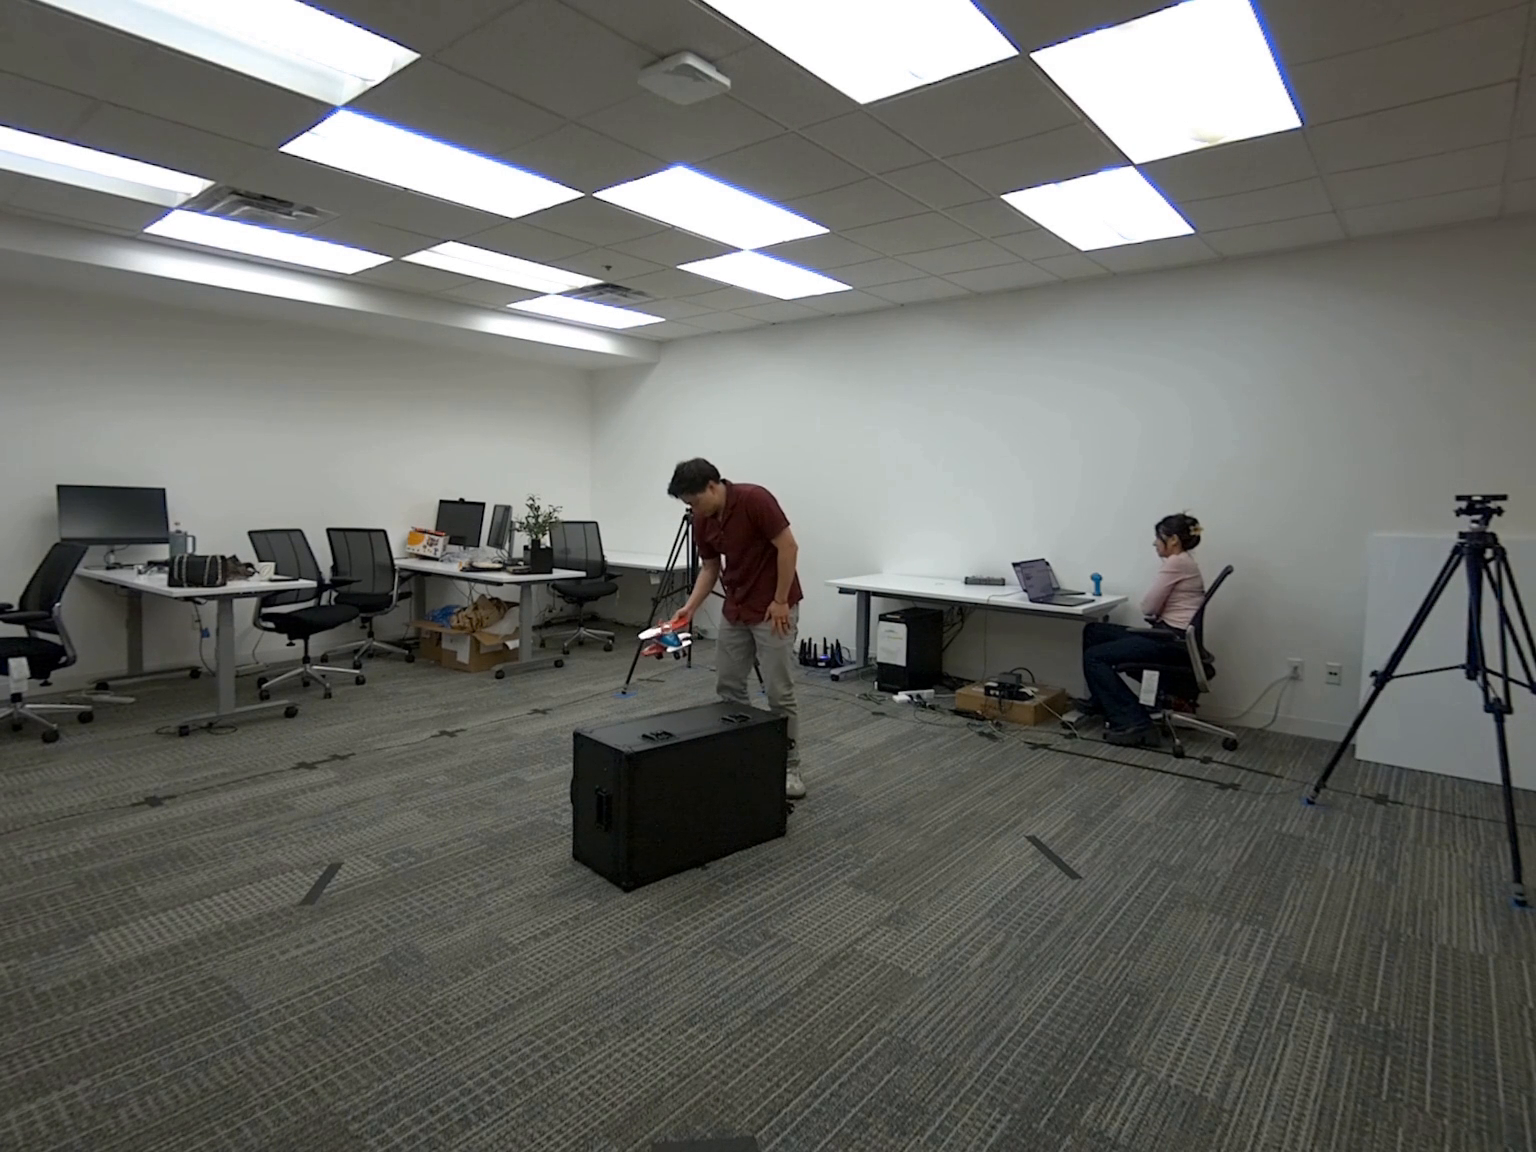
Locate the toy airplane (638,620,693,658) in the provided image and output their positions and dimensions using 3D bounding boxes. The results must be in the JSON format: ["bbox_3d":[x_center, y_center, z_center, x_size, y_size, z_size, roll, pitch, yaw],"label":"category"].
[{"bbox_3d":[-0.466,0.309,3.967,0.265,0.156,0.246,-13,5,39],"label":"toy airplane"}]
